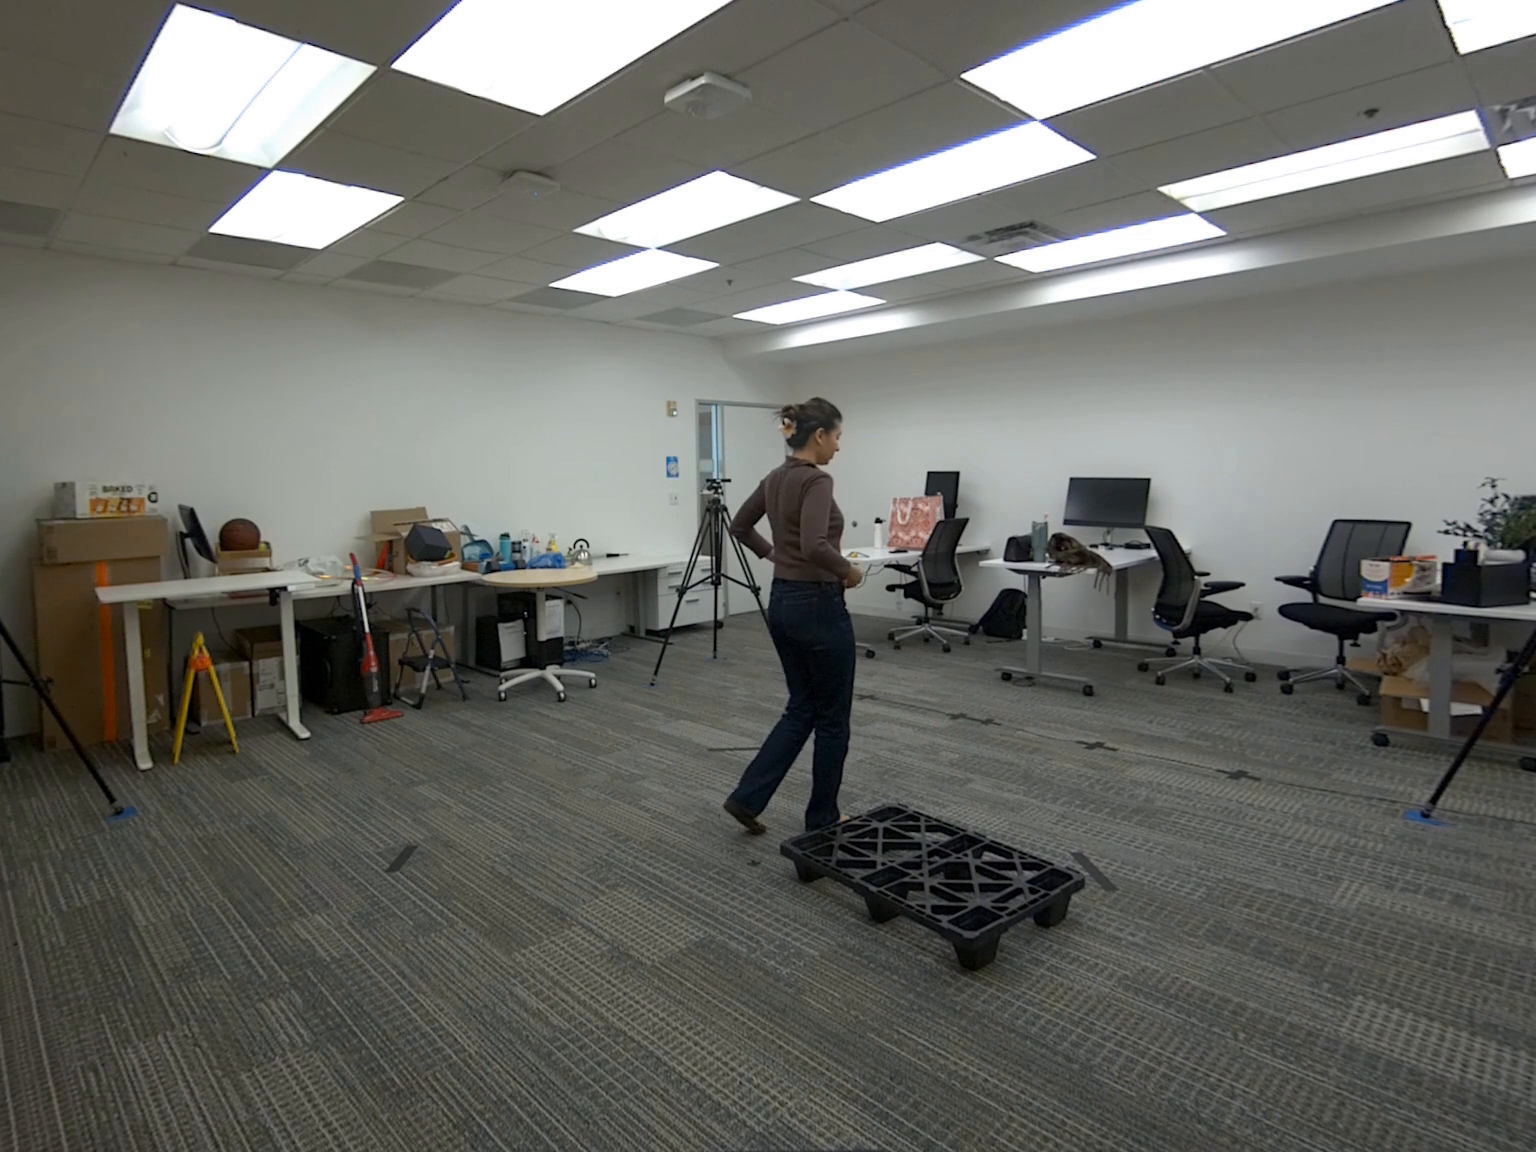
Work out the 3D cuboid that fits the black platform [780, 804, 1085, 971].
[{"bbox_3d":[0.523,1.000,2.819,0.590,0.142,0.830,-7,8,-38],"label":"black platform"}]
